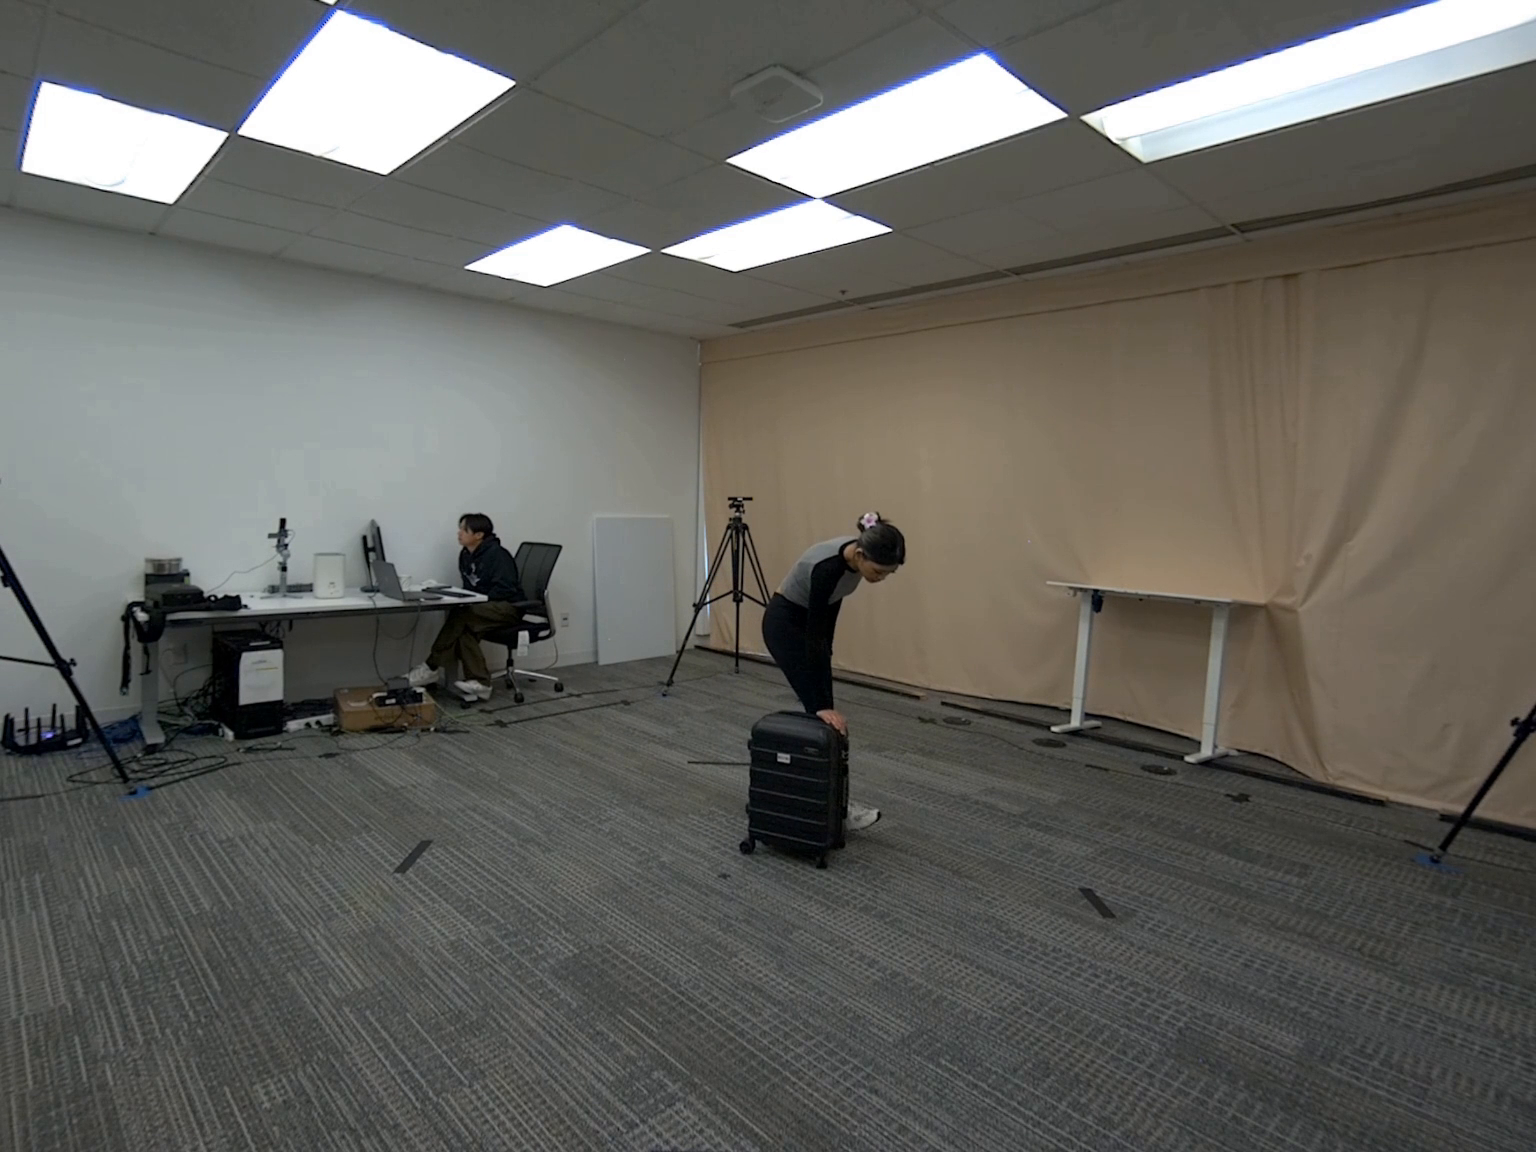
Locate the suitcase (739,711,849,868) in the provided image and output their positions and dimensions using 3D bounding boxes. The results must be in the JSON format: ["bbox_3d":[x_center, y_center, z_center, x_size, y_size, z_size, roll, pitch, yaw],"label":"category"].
[{"bbox_3d":[0.111,0.817,3.316,0.383,0.547,0.244,5,6,26],"label":"suitcase"}]
